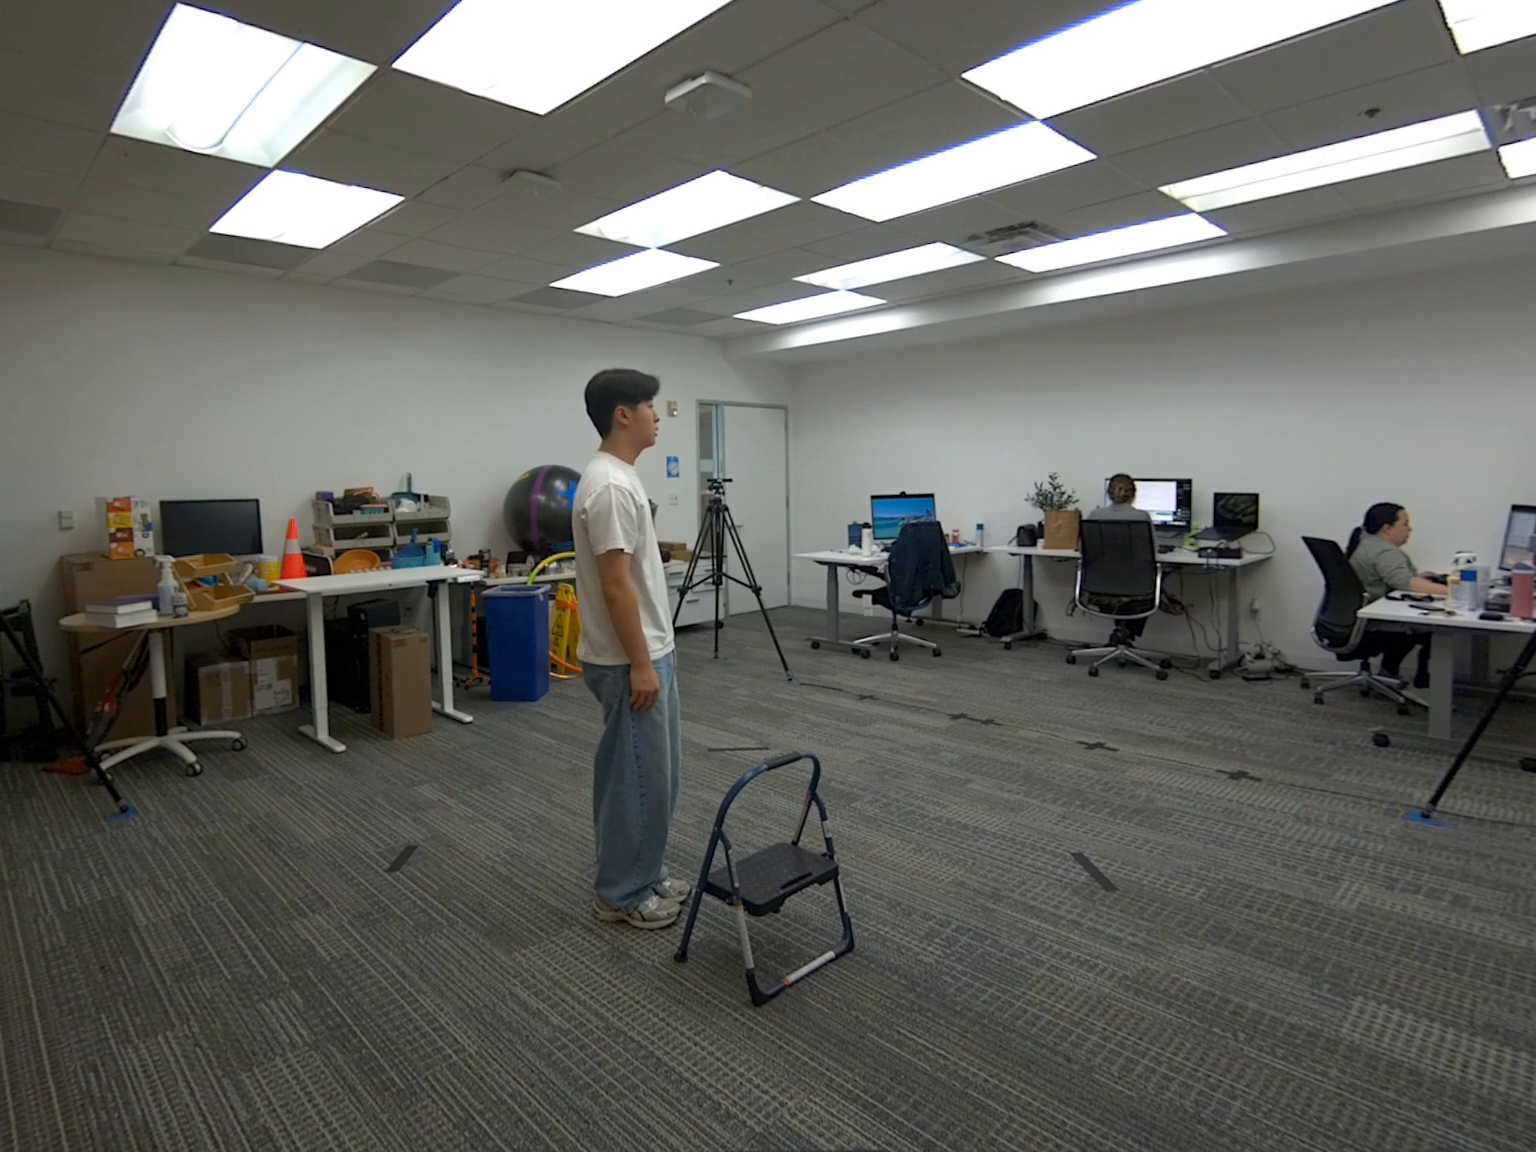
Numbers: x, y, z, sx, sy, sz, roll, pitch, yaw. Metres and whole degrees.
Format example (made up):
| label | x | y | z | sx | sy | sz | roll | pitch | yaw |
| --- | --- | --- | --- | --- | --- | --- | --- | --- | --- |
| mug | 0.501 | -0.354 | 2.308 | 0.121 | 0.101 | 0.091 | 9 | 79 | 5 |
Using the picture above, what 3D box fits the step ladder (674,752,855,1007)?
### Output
| label | x | y | z | sx | sy | sz | roll | pitch | yaw |
| --- | --- | --- | --- | --- | --- | --- | --- | --- | --- |
| step ladder | -0.007 | 0.810 | 2.497 | 0.419 | 0.604 | 0.360 | -6 | 6 | -45 |
